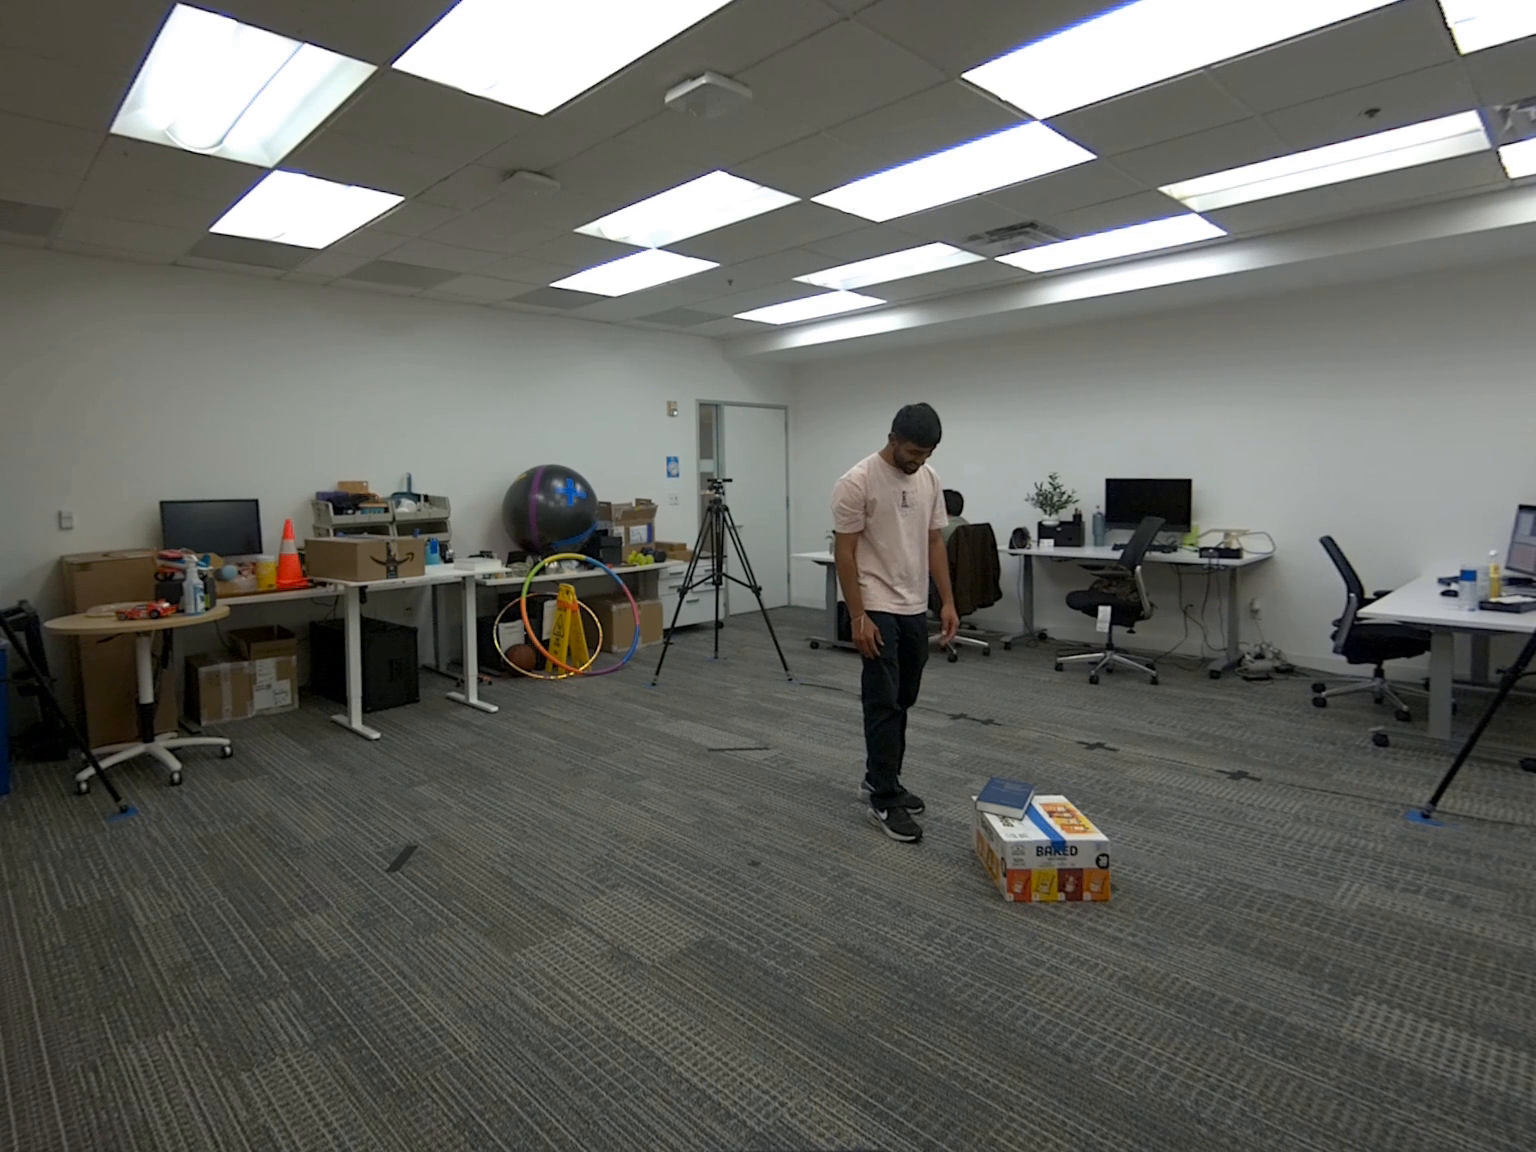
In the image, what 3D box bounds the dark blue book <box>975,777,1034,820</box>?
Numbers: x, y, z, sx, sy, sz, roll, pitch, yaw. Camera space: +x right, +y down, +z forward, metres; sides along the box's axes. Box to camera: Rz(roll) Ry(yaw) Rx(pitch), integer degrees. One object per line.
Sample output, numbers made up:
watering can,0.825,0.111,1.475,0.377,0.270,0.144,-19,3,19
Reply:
dark blue book,0.868,0.805,3.110,0.167,0.045,0.240,5,9,26
